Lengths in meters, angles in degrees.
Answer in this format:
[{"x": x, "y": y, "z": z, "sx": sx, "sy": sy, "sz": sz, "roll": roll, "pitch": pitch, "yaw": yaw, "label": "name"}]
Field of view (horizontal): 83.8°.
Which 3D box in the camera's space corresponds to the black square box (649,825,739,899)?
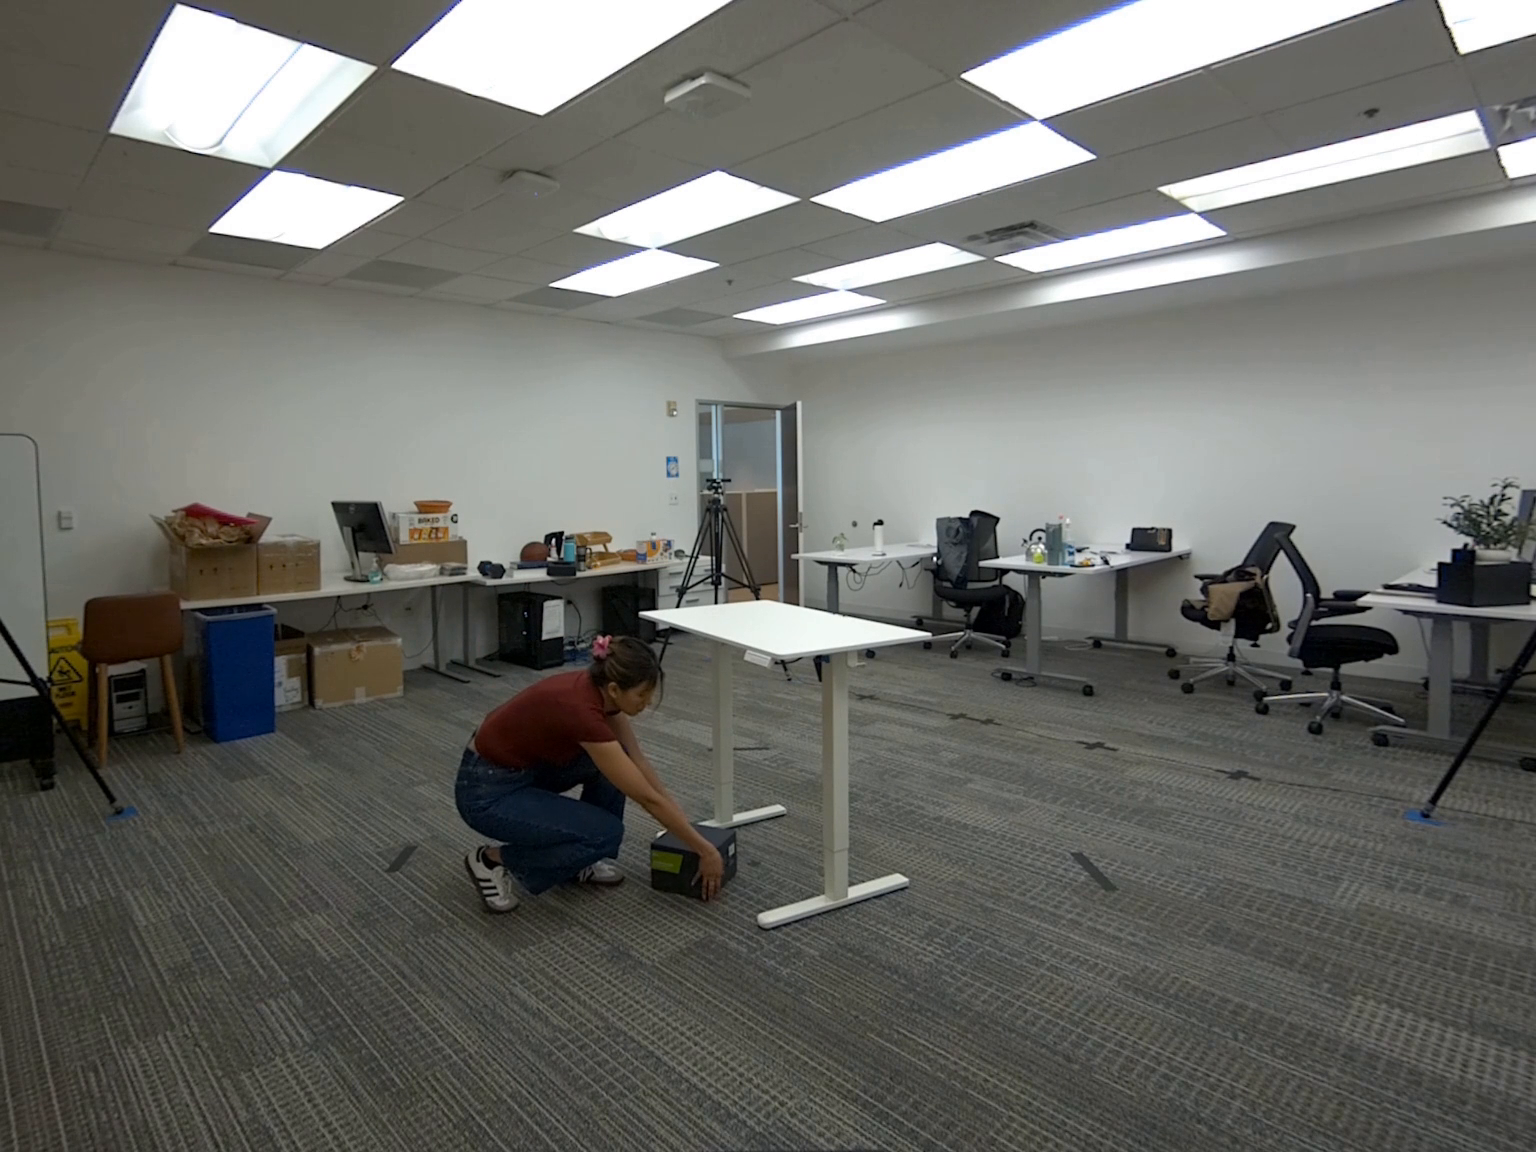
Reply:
[{"x": -0.259, "y": 0.977, "z": 2.967, "sx": 0.233, "sy": 0.155, "sz": 0.213, "roll": 1, "pitch": 8, "yaw": 25, "label": "black square box"}]
